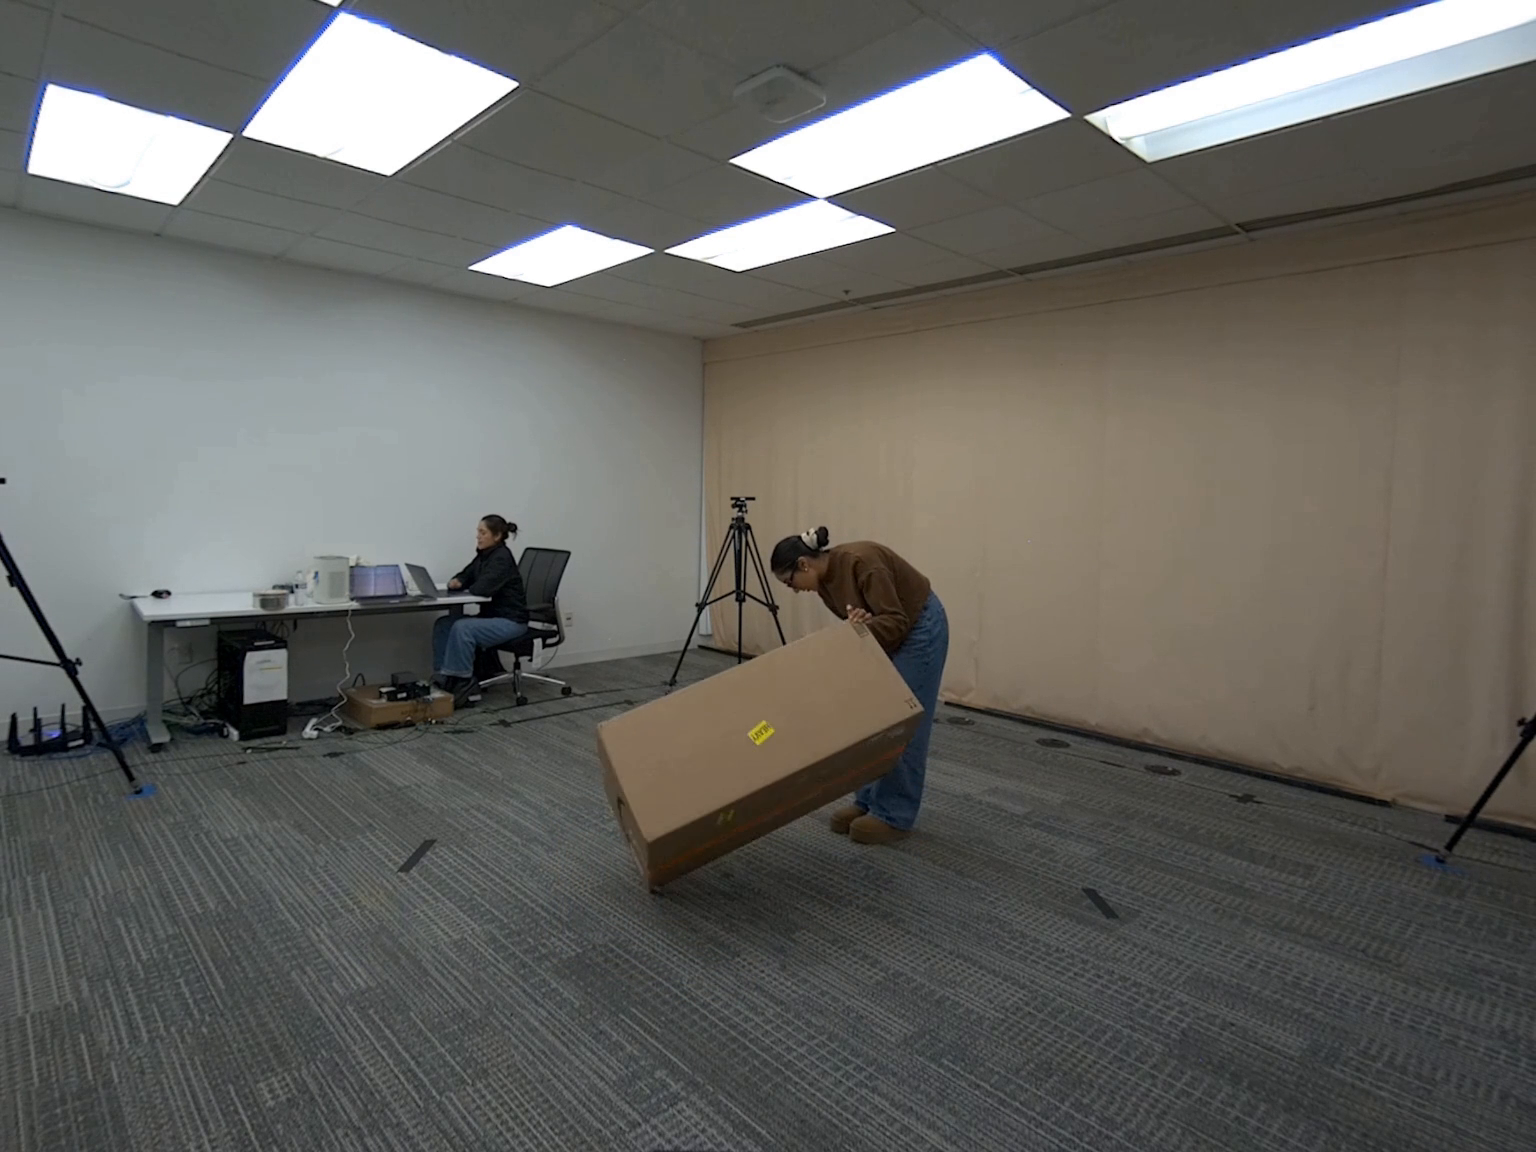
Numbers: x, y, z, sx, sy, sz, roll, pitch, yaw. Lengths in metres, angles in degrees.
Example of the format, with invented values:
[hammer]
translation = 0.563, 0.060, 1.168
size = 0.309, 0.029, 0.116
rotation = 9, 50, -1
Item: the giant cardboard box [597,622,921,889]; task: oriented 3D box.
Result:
[giant cardboard box]
translation = -0.051, 0.632, 3.005
size = 1.018, 0.459, 0.574
rotation = -21, -29, -20
